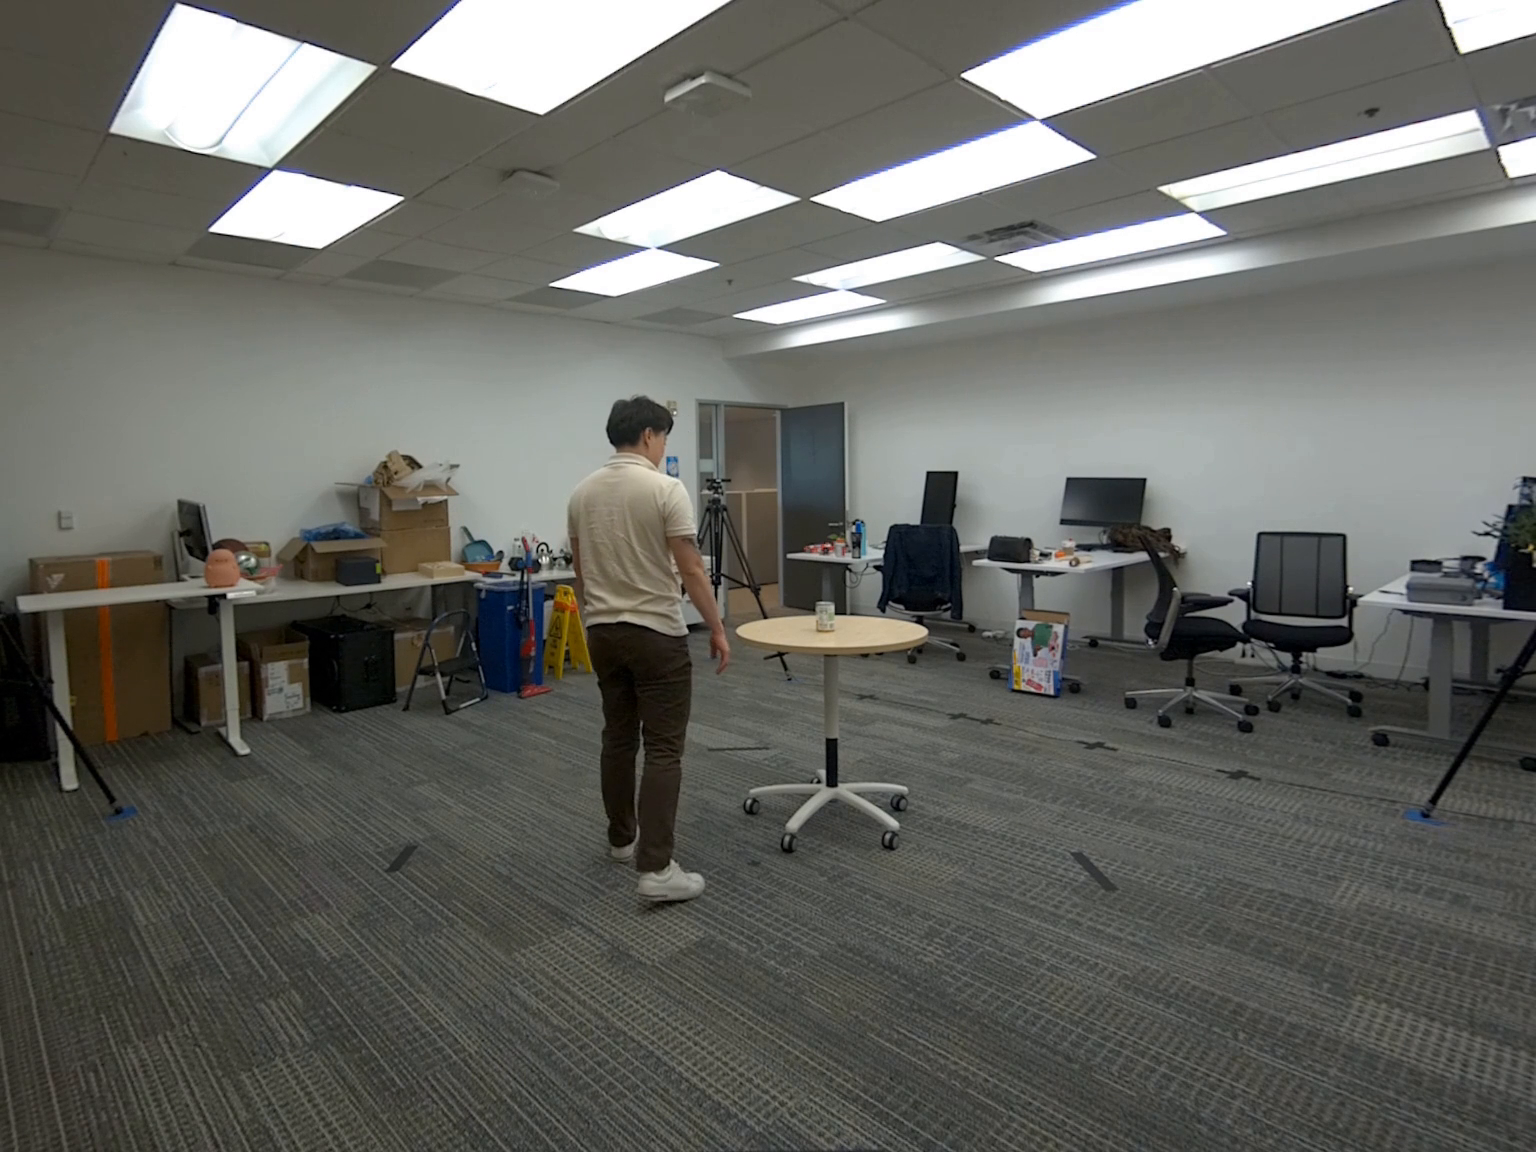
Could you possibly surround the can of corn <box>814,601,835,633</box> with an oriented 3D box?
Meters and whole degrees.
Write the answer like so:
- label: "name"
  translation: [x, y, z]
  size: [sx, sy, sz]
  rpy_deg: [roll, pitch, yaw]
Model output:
- label: "can of corn"
  translation: [0.235, 0.162, 3.421]
  size: [0.074, 0.111, 0.074]
  rpy_deg: [-1, 3, -2]
